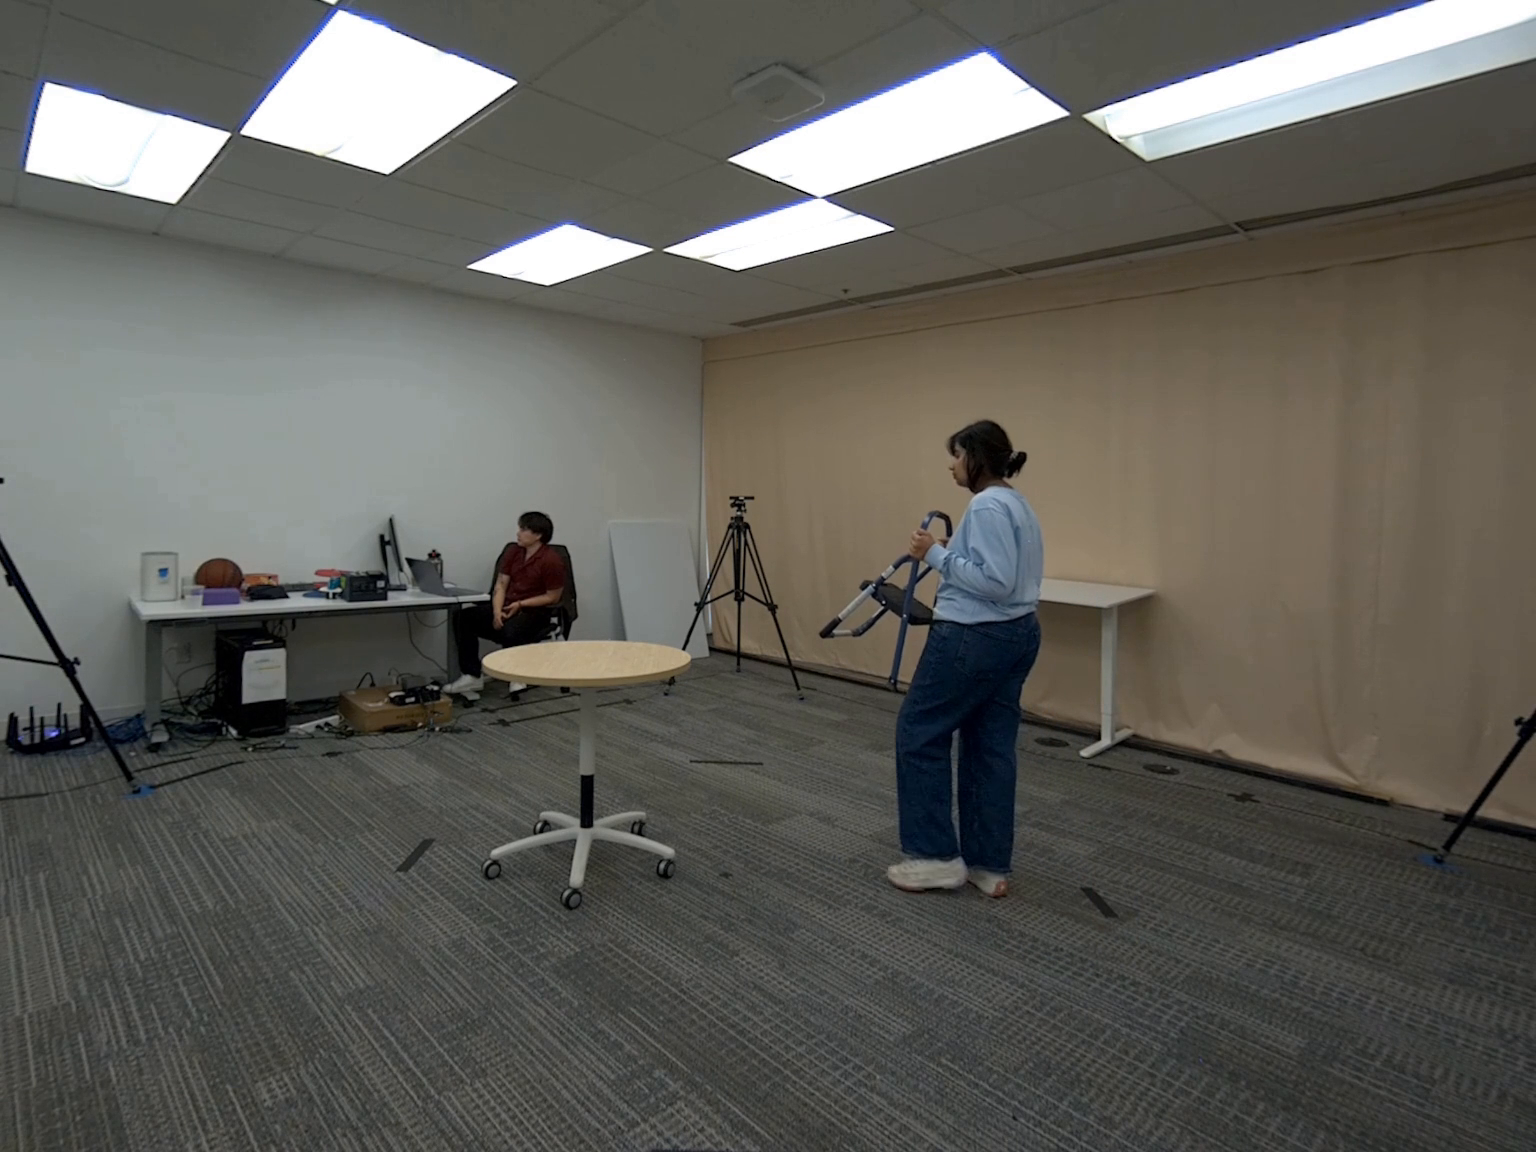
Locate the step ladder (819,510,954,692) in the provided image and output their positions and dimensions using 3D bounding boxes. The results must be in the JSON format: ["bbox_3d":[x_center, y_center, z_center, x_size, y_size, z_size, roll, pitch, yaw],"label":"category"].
[{"bbox_3d":[0.535,0.069,3.130,0.358,0.604,0.421,35,12,24],"label":"step ladder"}]
